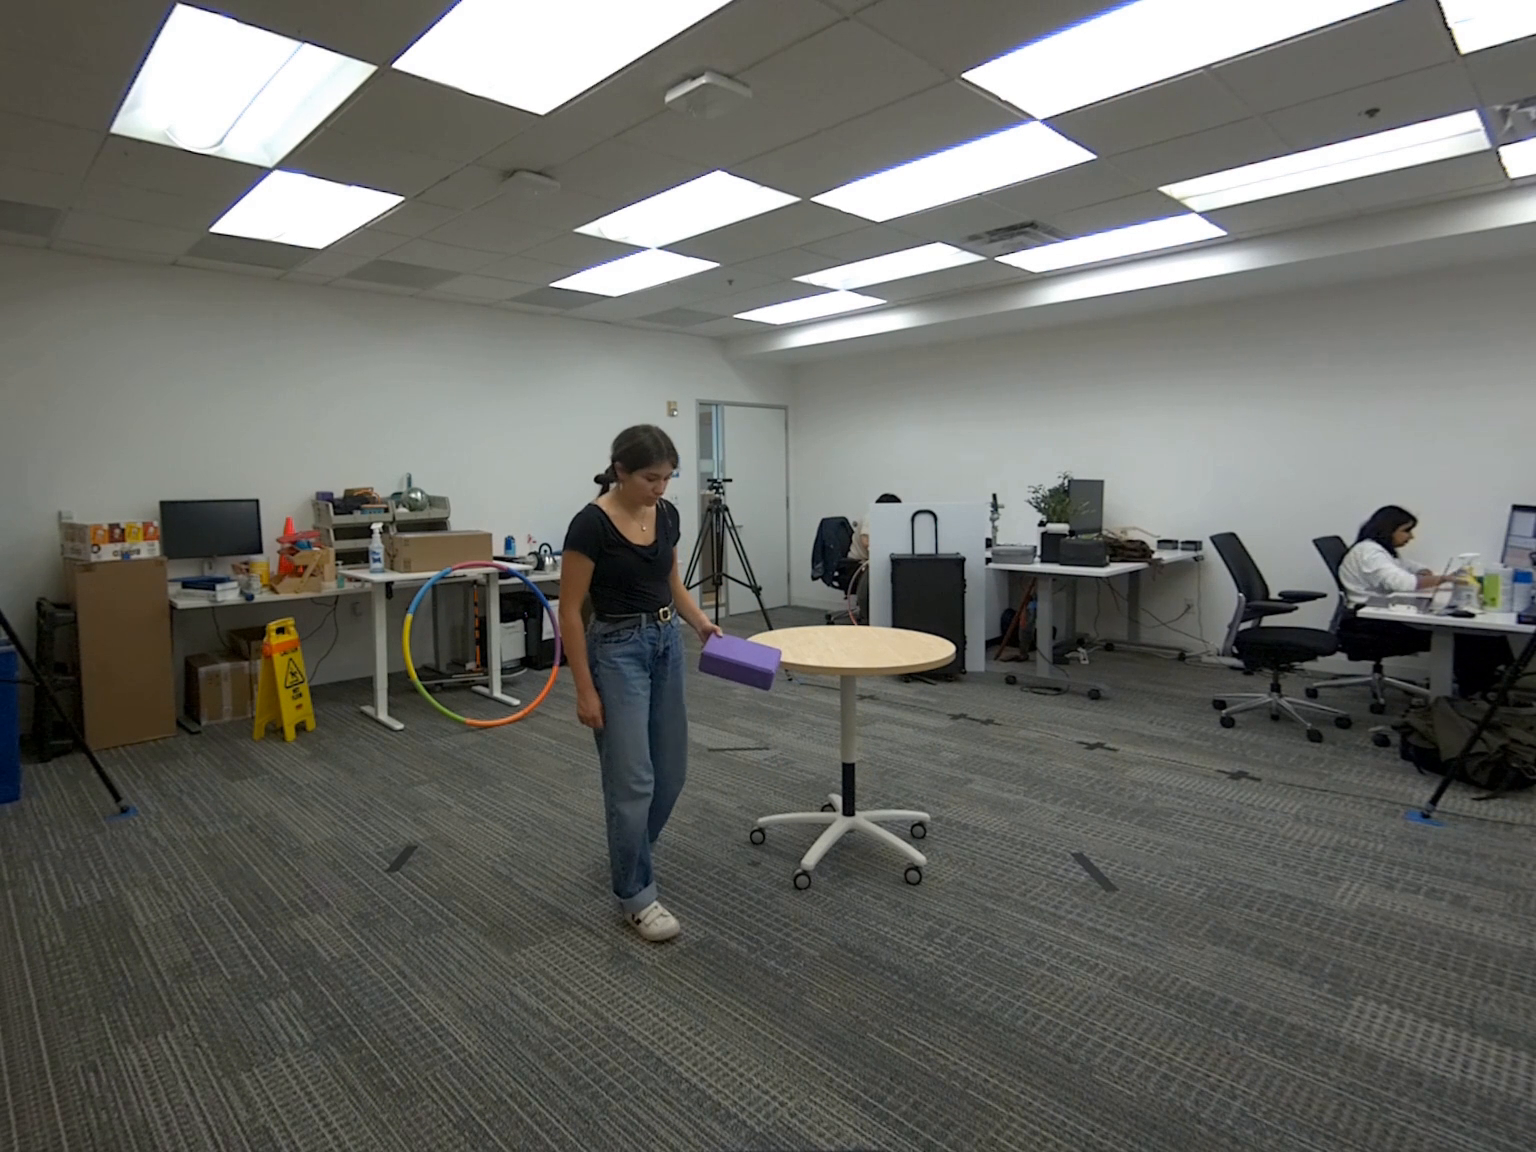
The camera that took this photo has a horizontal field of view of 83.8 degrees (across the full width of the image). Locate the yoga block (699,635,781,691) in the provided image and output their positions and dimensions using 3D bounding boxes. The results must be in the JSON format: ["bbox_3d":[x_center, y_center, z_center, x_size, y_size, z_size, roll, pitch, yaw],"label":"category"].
[{"bbox_3d":[-0.088,0.259,2.654,0.233,0.075,0.149,14,24,12],"label":"yoga block"}]
